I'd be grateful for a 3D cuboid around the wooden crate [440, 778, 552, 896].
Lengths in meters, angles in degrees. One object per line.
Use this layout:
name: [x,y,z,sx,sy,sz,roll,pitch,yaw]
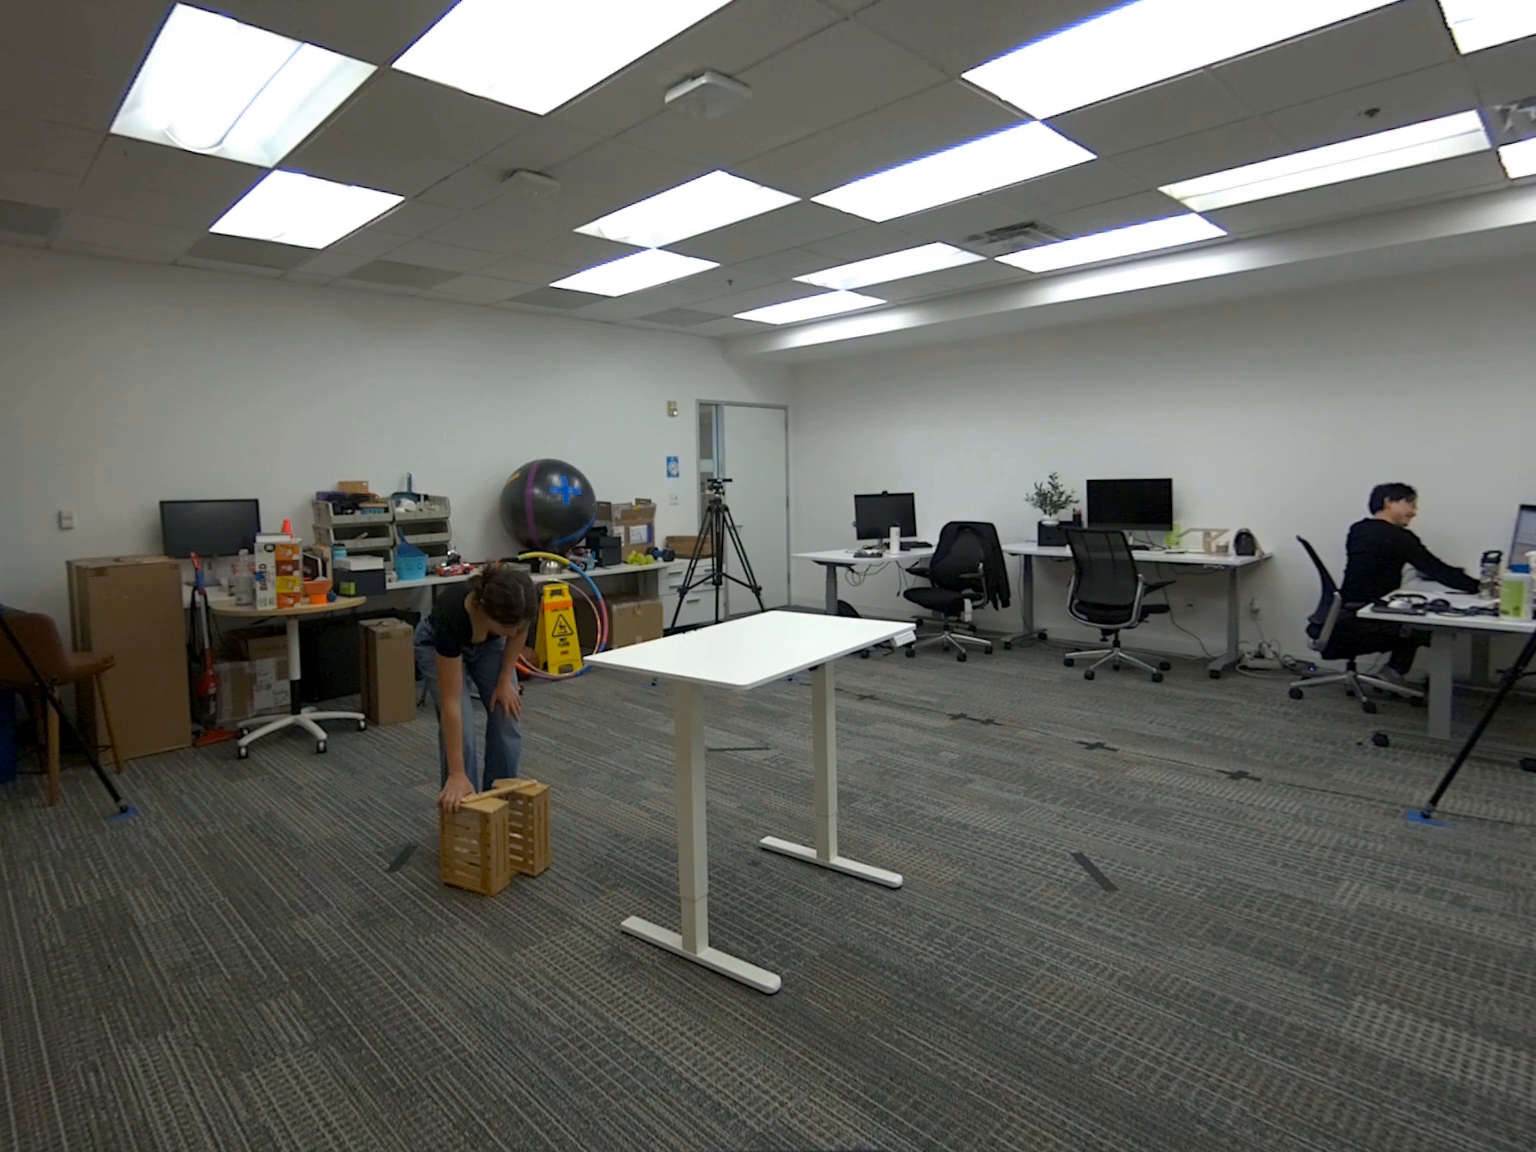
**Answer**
wooden crate: [-0.970,0.908,3.028,0.309,0.322,0.269,6,9,22]
